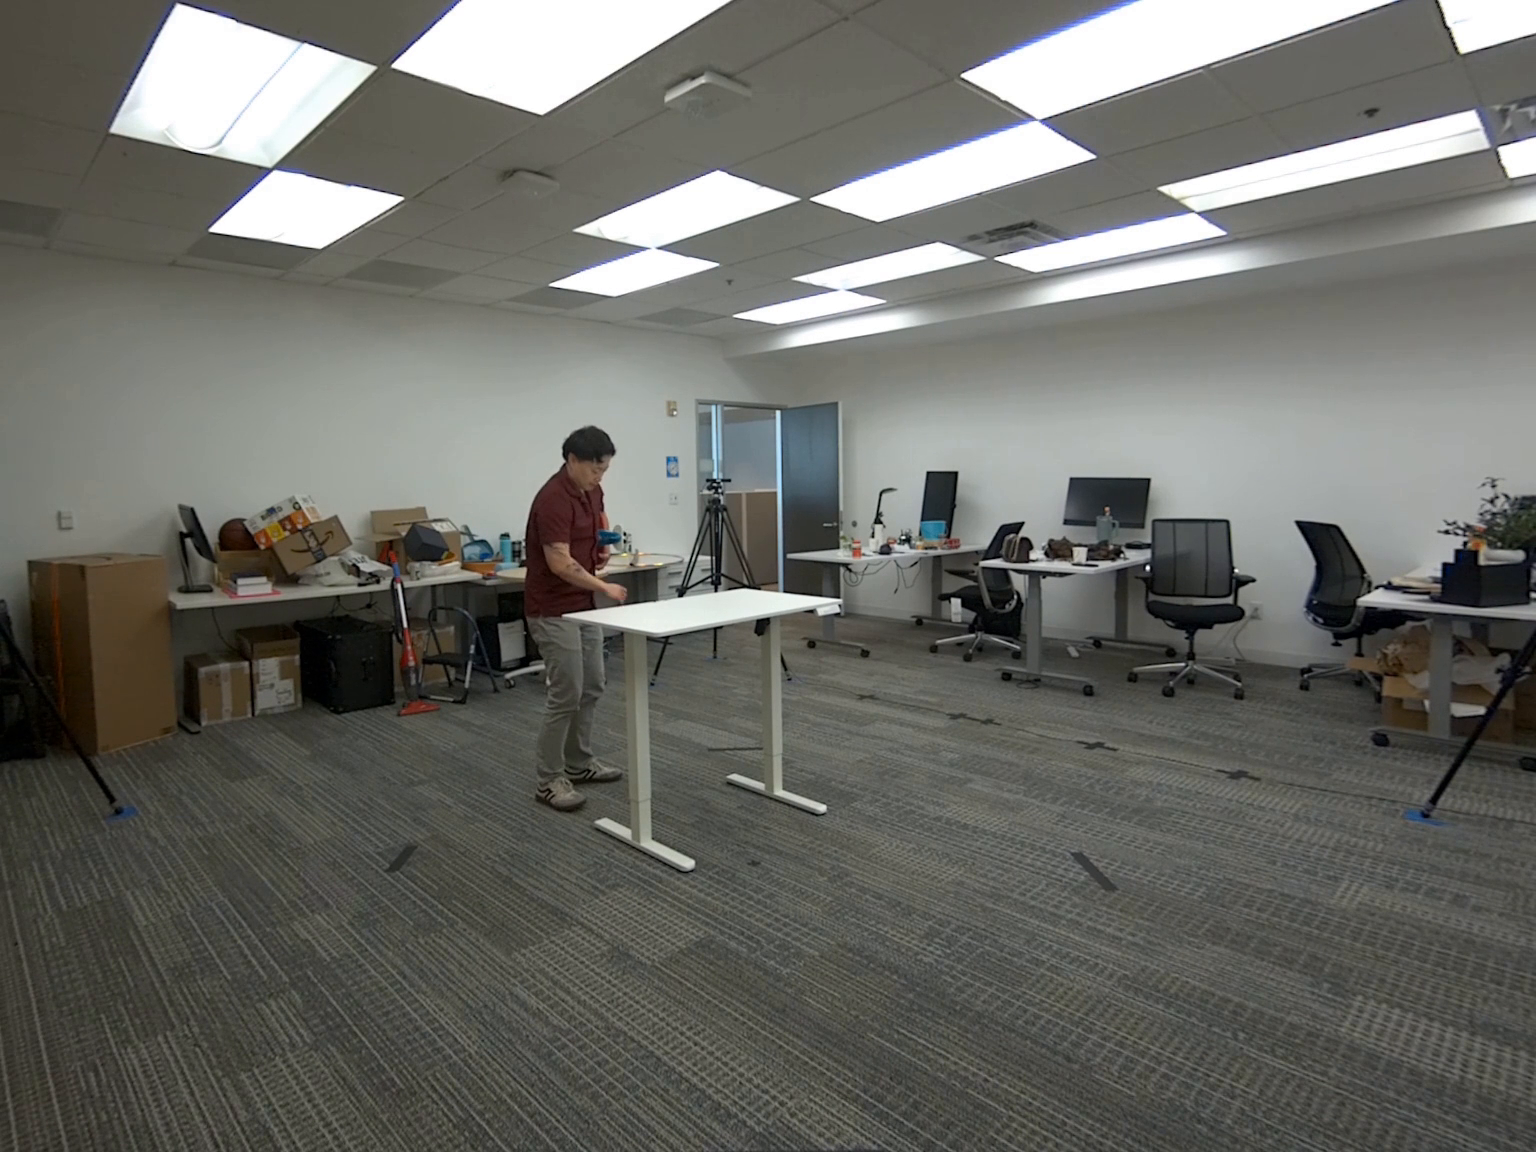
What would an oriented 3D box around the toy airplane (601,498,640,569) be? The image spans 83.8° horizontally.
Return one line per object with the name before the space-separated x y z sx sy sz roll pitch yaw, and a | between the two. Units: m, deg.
toy airplane | -0.788 -0.195 4.034 0.262 0.255 0.152 -29 -13 35
